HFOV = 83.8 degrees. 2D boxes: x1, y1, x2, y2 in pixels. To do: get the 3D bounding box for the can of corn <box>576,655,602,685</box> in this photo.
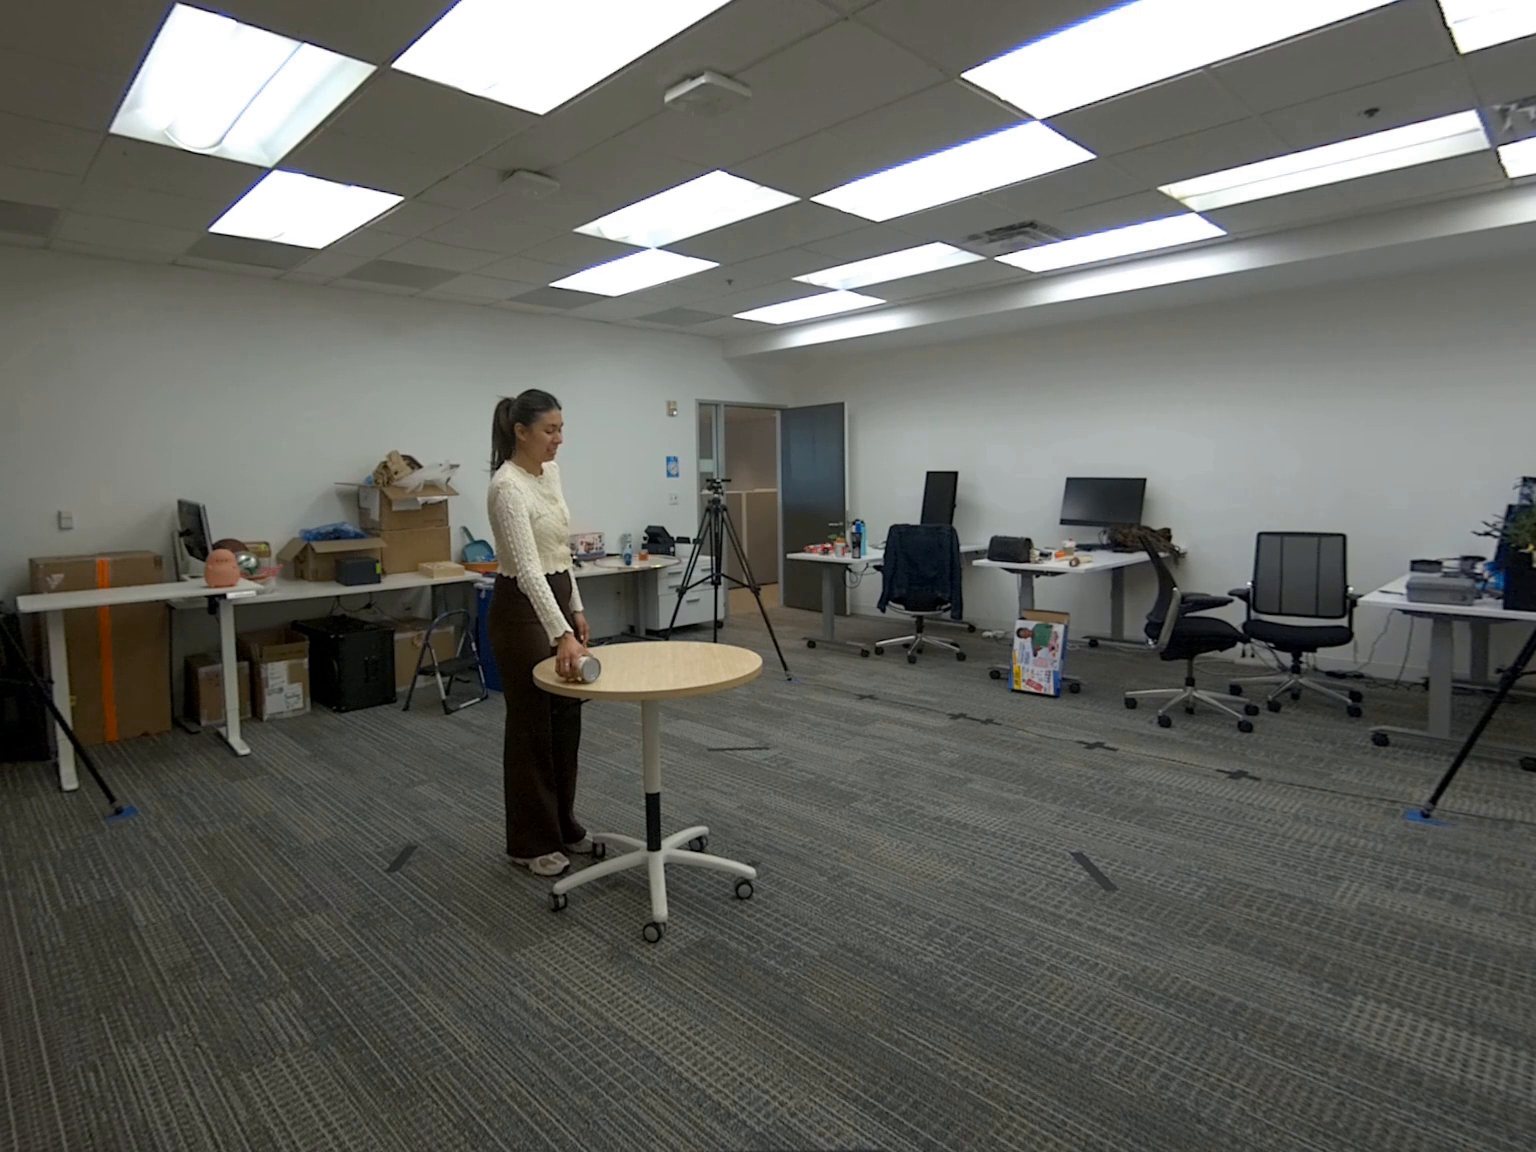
[{"bbox_3d":[-0.580,0.280,2.650,0.114,0.074,0.072,-2,3,33],"label":"can of corn"}]
